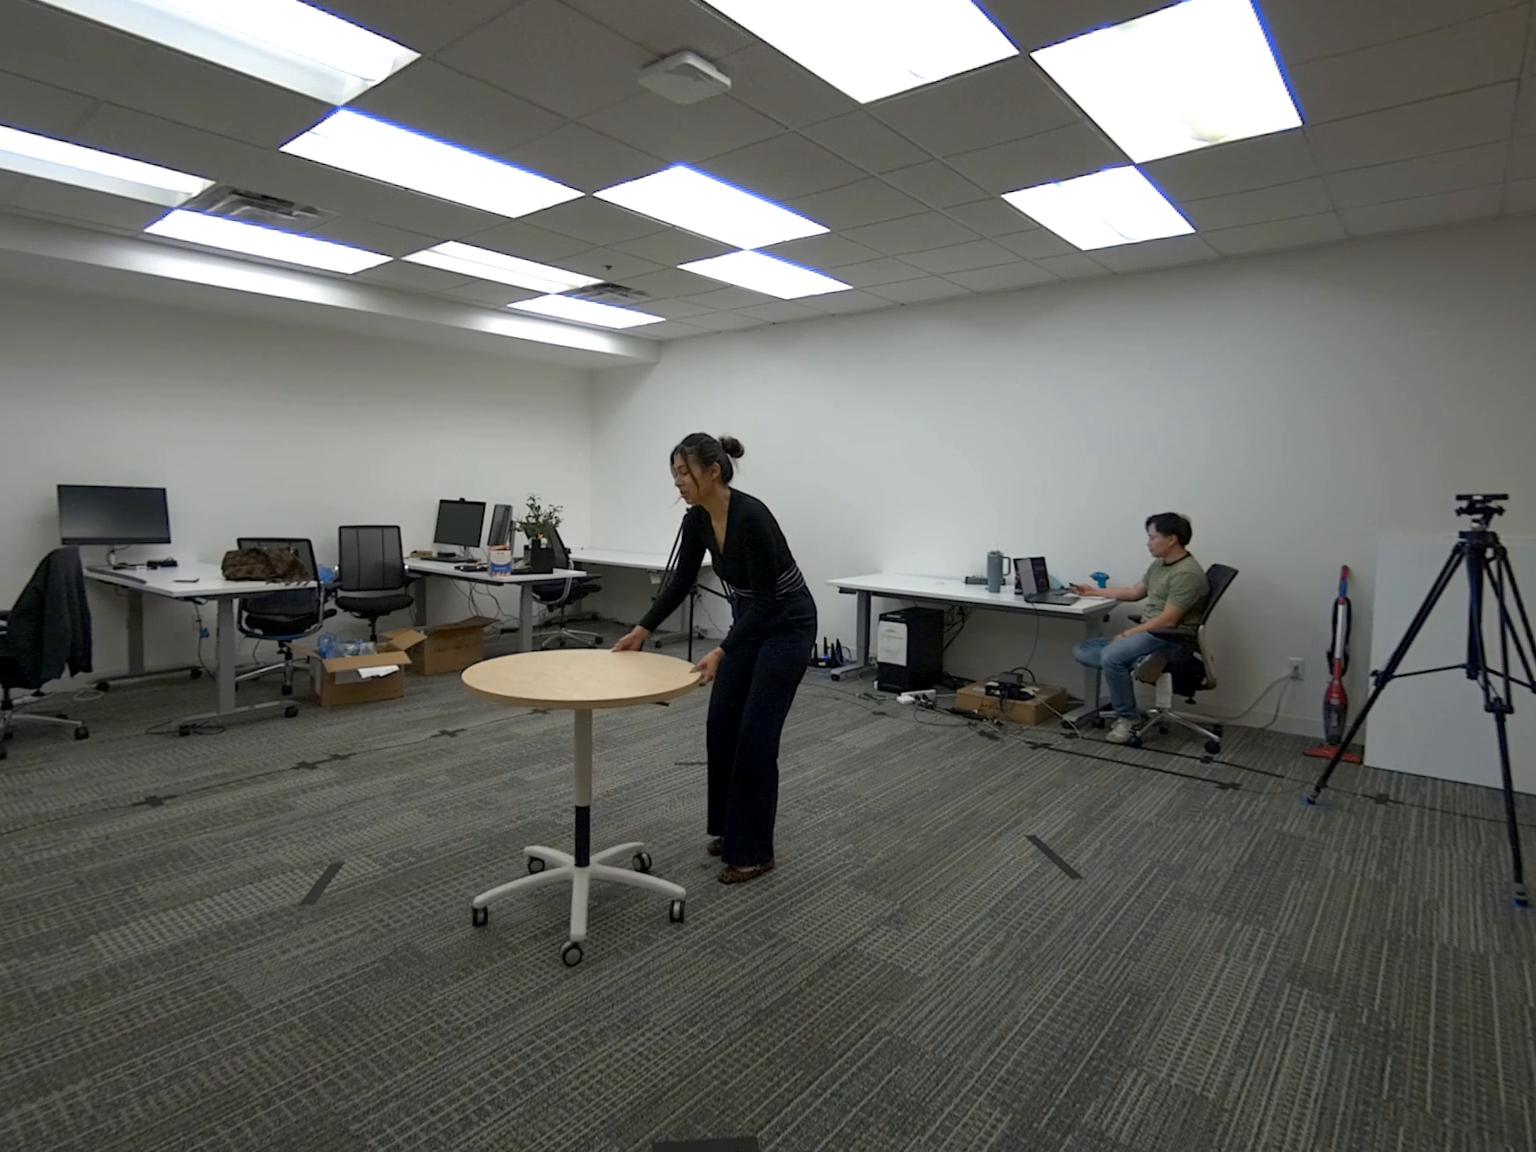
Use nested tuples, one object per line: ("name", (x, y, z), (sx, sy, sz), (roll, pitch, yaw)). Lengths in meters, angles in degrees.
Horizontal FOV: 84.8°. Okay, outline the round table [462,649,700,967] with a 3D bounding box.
("round table", (-0.614, 0.702, 2.795), (0.763, 0.791, 0.768), (1, 4, -2))
